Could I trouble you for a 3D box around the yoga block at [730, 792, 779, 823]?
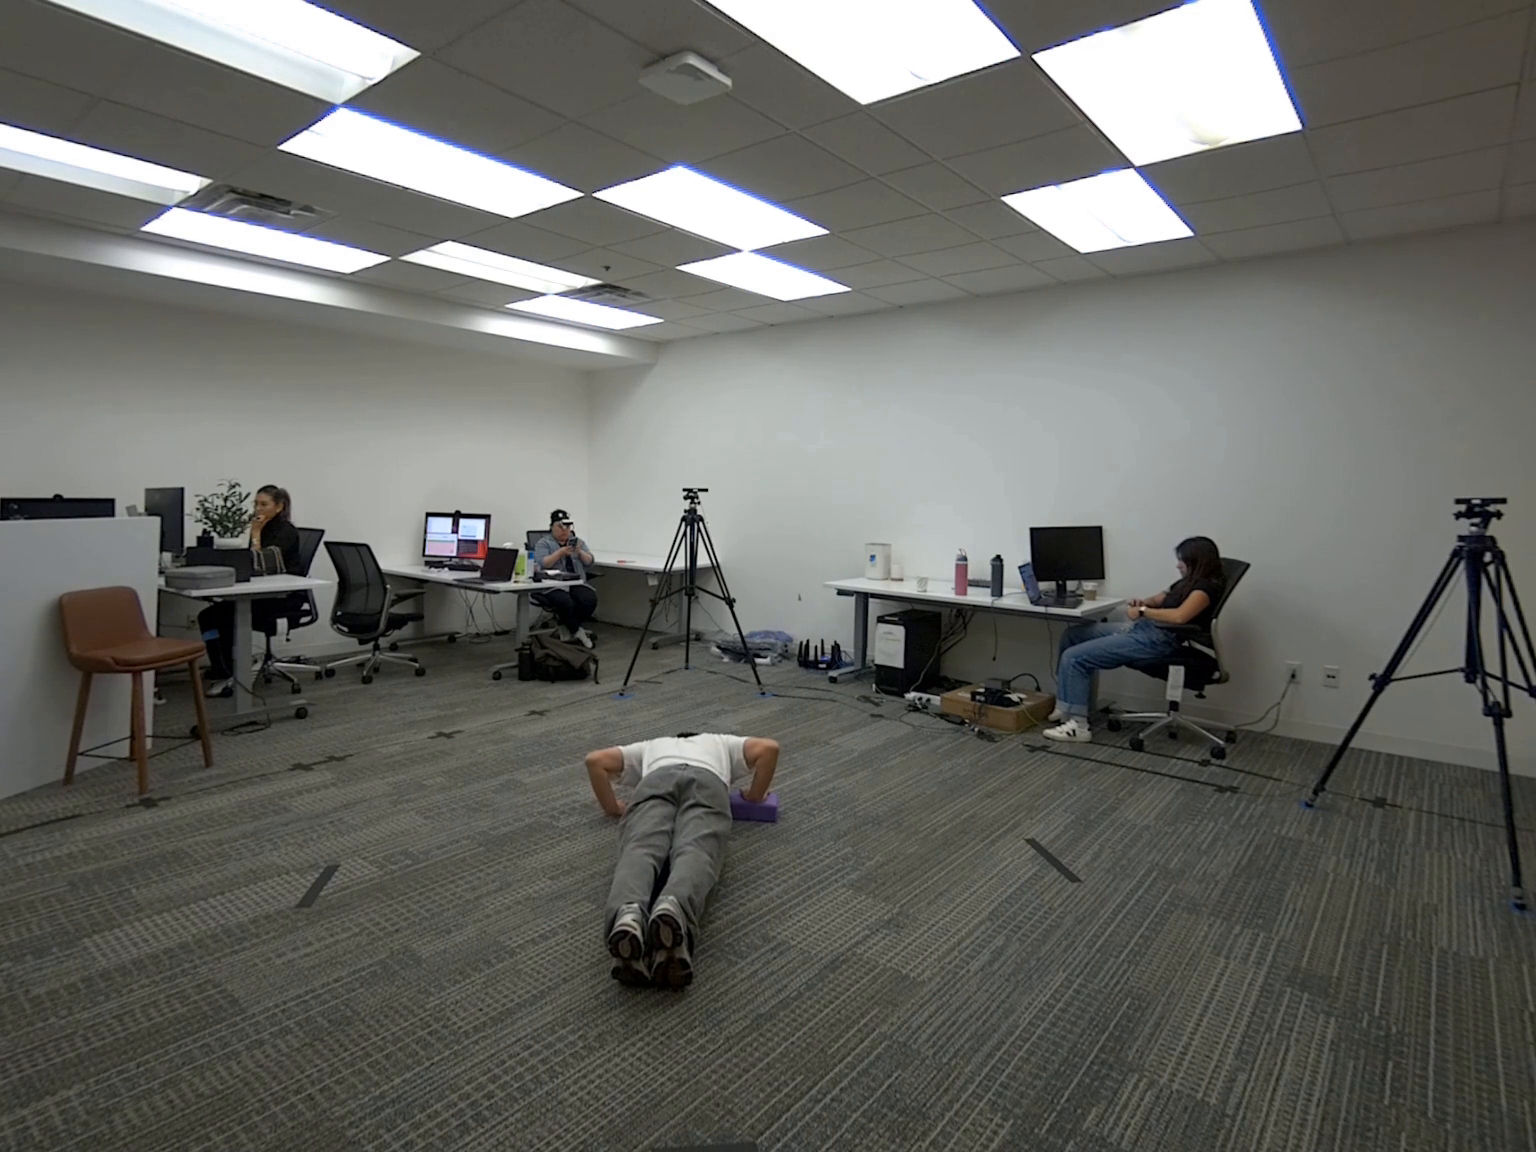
[{"bbox_3d":[-0.065,0.981,3.649,0.231,0.076,0.148,1,6,8],"label":"yoga block"}]
